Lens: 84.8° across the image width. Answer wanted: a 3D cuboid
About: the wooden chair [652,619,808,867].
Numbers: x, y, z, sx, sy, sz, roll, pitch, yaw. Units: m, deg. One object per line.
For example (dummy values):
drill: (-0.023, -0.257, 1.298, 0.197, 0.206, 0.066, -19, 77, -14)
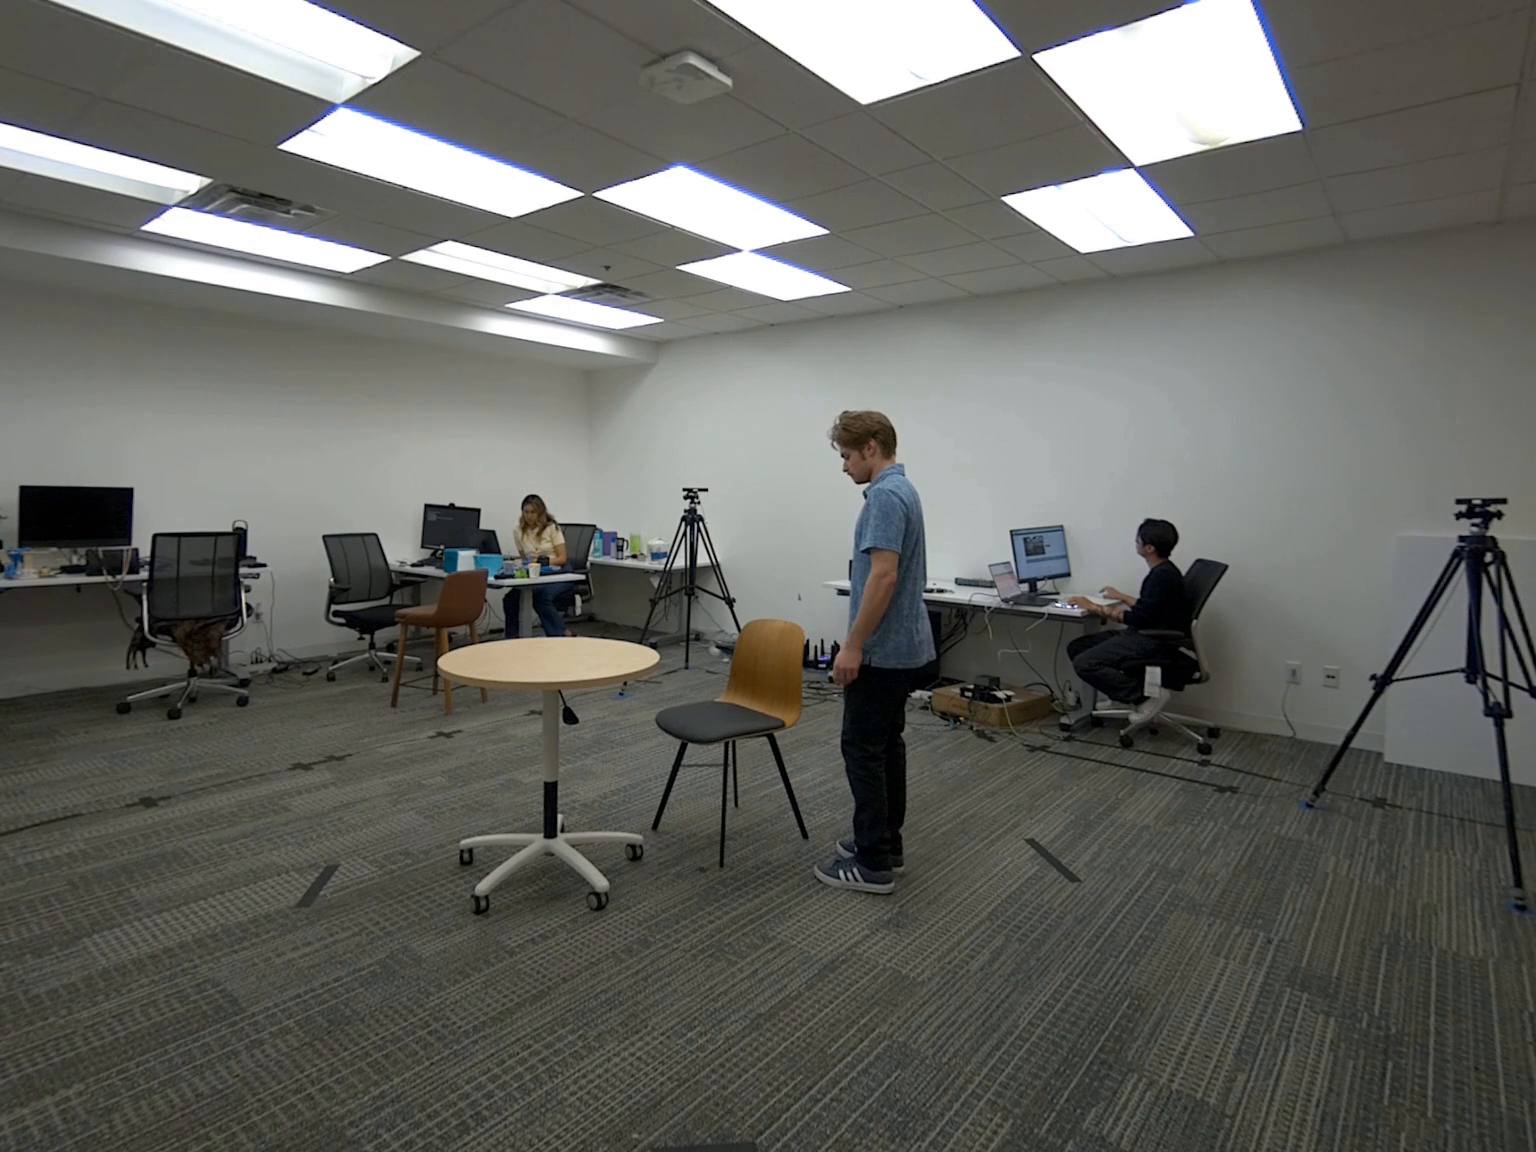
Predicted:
wooden chair: (-0.160, 0.615, 3.401, 0.506, 0.877, 0.494, 4, 1, -42)
